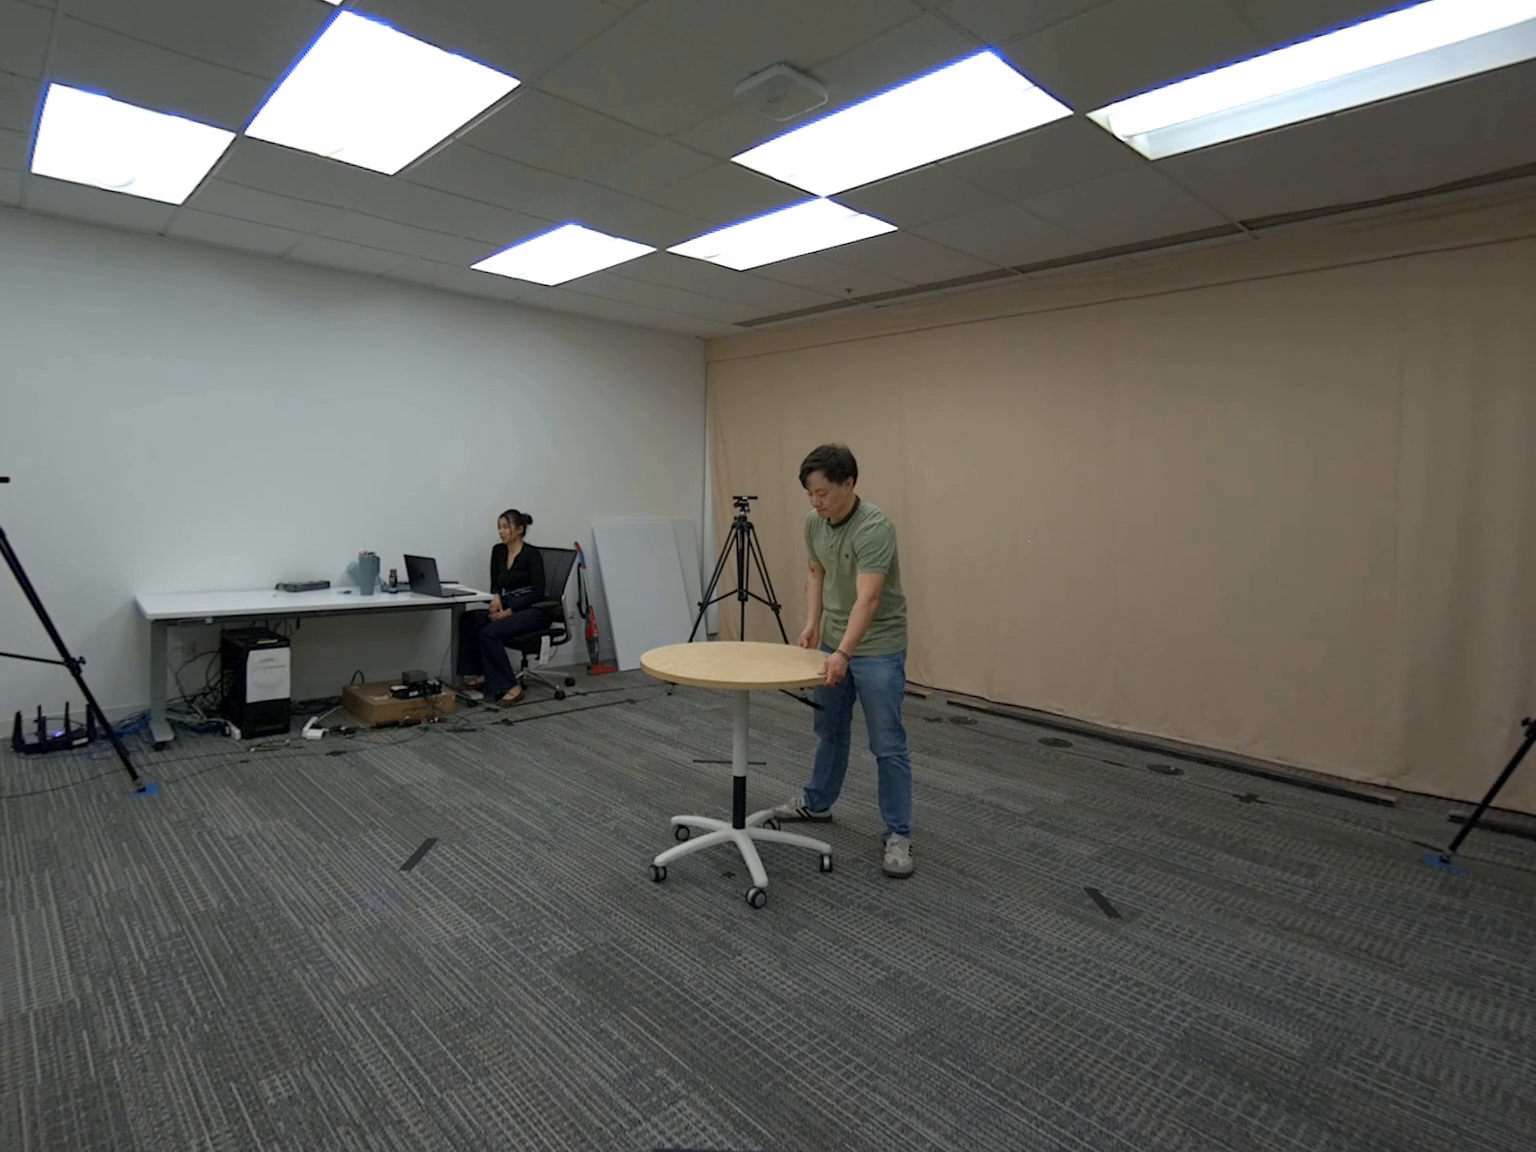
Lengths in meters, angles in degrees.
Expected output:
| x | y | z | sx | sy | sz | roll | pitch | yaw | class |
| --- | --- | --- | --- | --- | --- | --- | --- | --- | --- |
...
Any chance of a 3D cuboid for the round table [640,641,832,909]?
| x | y | z | sx | sy | sz | roll | pitch | yaw | class |
| --- | --- | --- | --- | --- | --- | --- | --- | --- | --- |
| -0.107 | 0.707 | 3.173 | 0.763 | 0.792 | 0.767 | 1 | 4 | -1 | round table |
